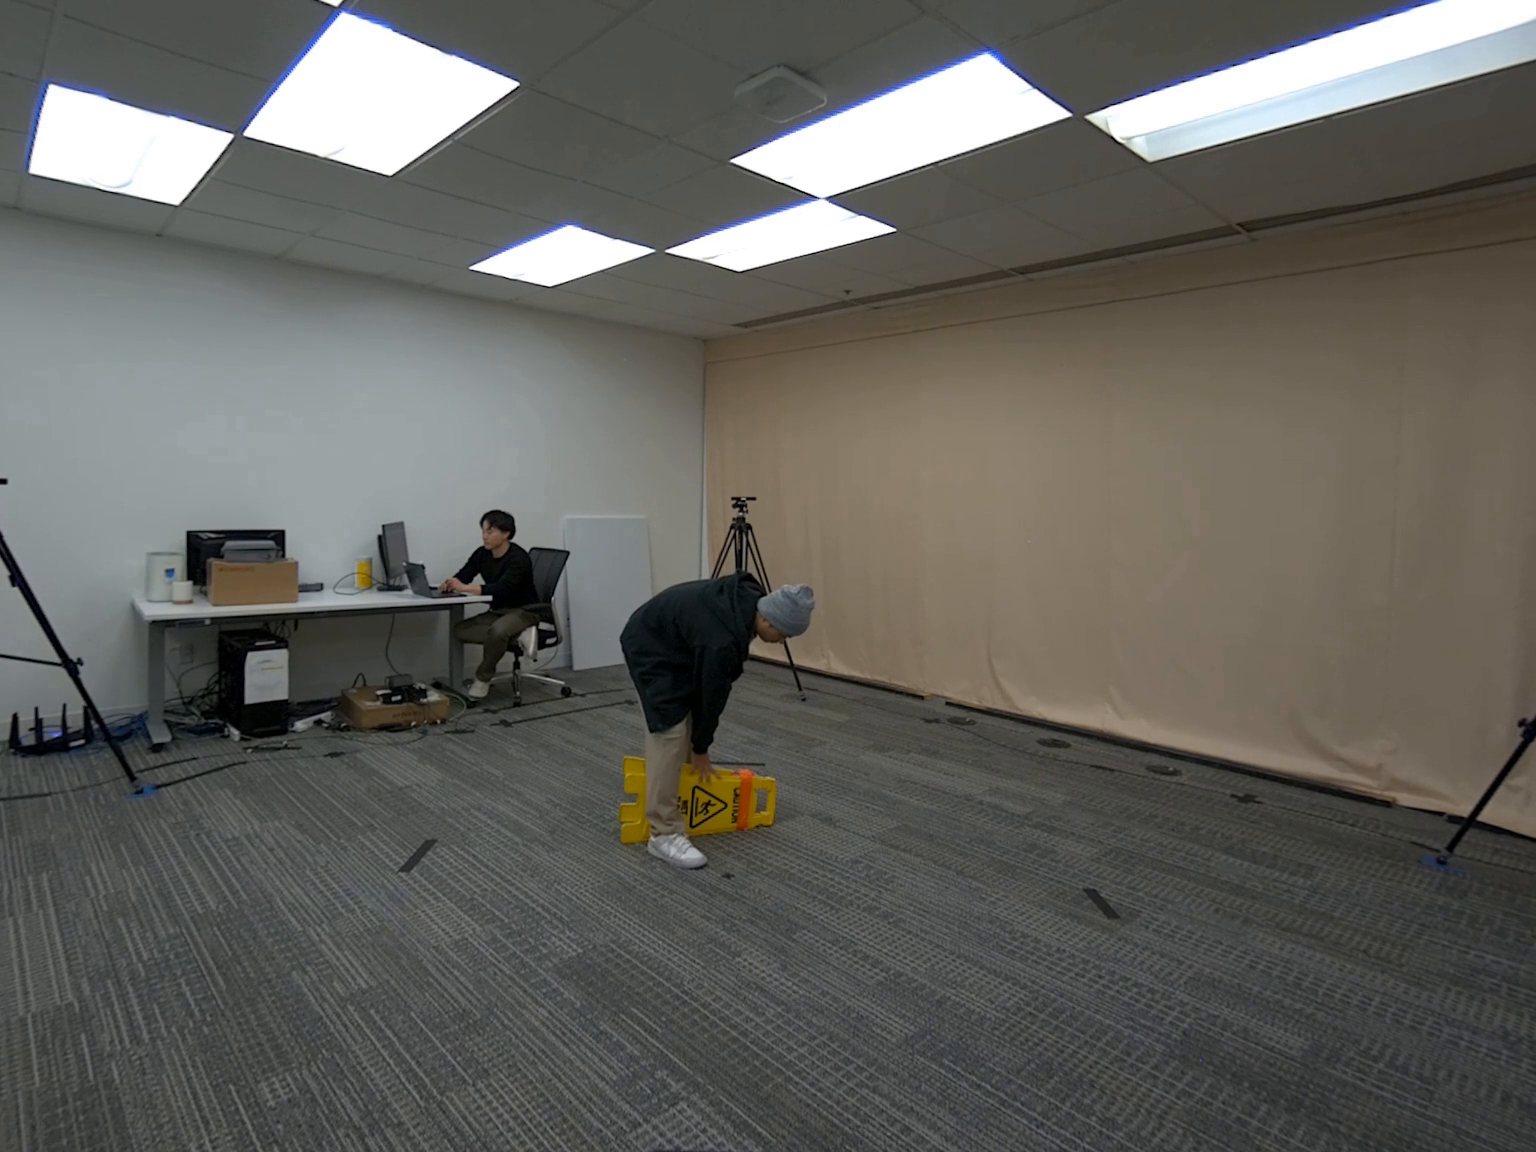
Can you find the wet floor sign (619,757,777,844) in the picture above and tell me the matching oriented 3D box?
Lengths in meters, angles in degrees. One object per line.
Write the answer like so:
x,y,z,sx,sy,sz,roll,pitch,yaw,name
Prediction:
-0.298,0.941,3.552,0.641,0.282,0.292,4,3,-10,wet floor sign
